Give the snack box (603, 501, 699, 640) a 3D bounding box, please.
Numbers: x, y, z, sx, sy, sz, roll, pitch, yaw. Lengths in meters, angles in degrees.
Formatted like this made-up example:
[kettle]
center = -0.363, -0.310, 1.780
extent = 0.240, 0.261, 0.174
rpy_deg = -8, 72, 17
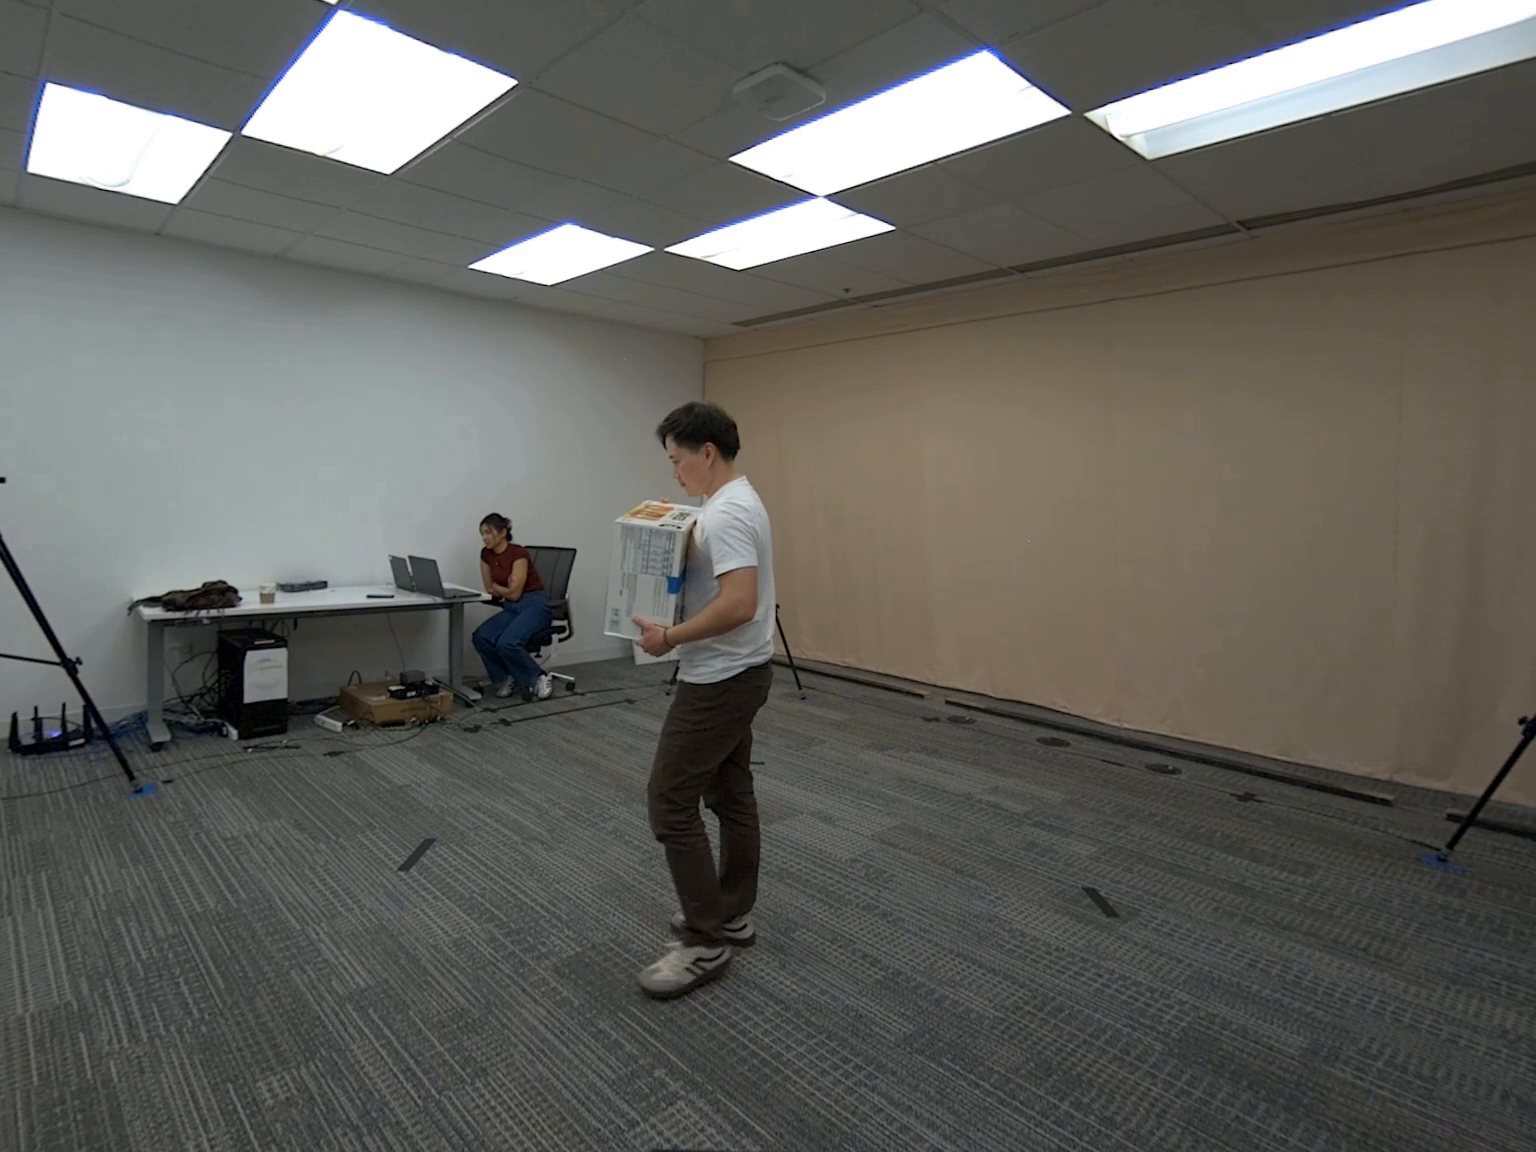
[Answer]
[snack box]
center = -0.346, -0.025, 2.574
extent = 0.206, 0.338, 0.406
rpy_deg = 8, 12, 4
